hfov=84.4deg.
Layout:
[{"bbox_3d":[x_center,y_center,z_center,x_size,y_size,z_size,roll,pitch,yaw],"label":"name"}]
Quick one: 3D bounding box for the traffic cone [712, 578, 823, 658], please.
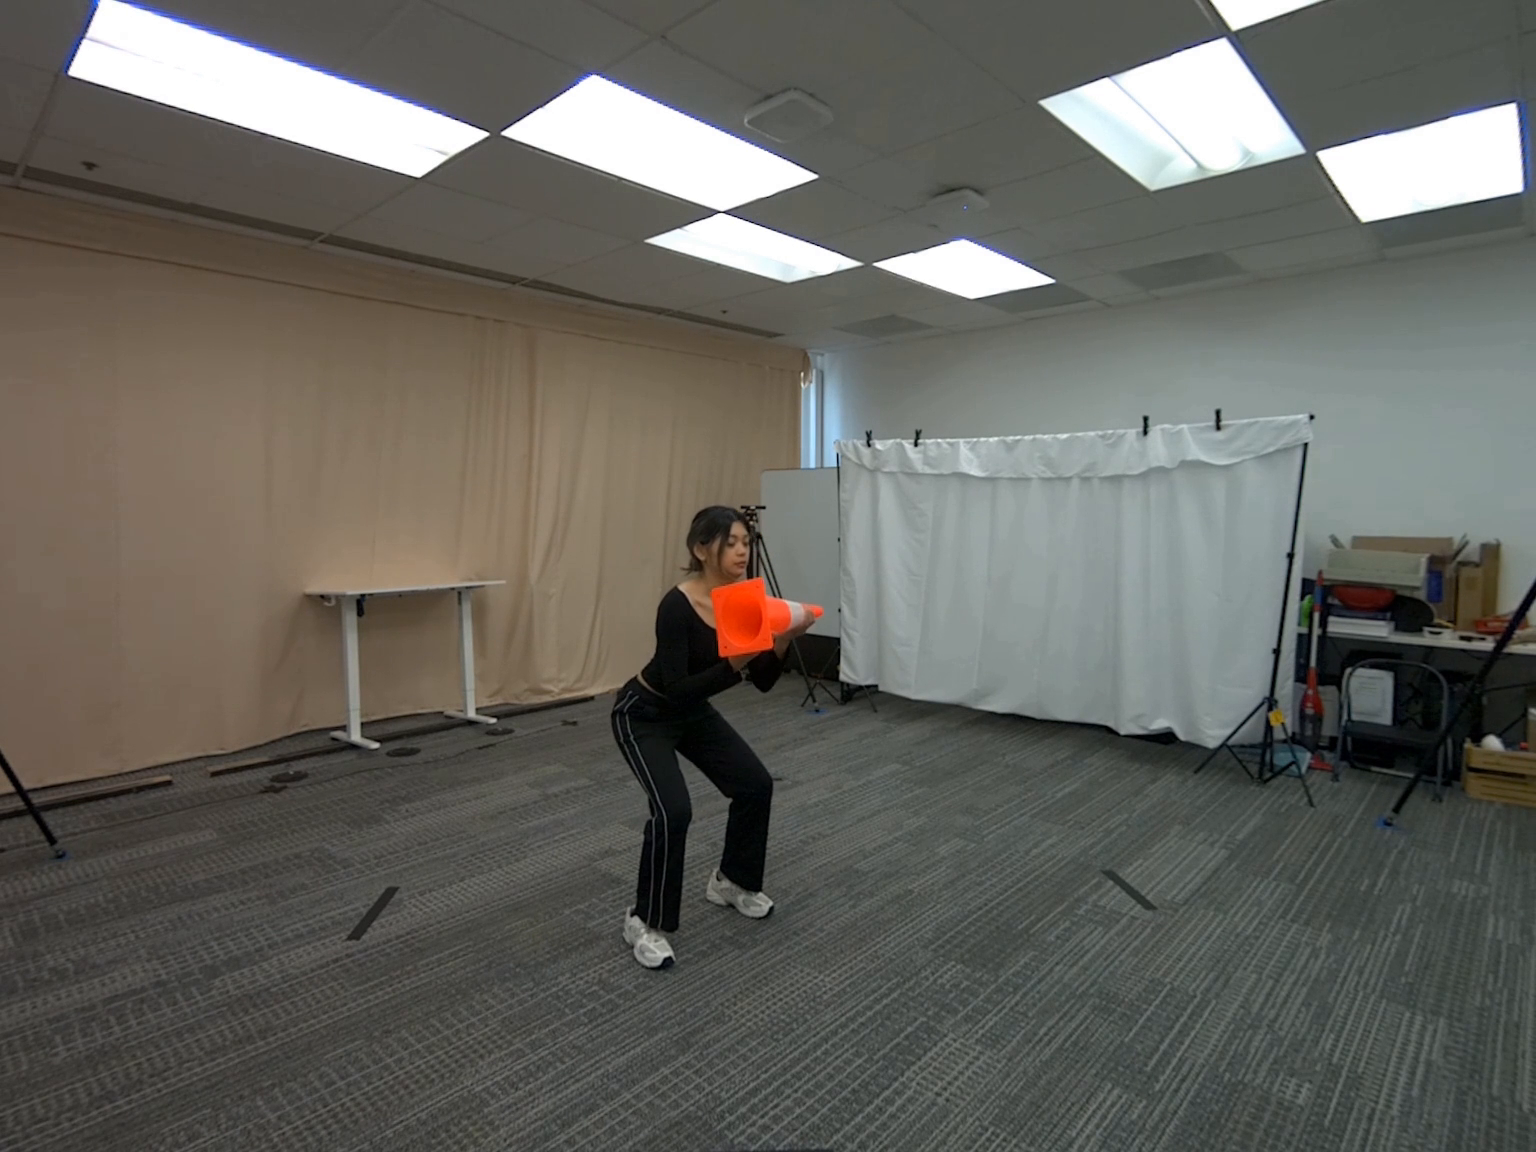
[{"bbox_3d":[0.037,0.117,2.520,0.209,0.206,0.371,-14,-9,42],"label":"traffic cone"}]
